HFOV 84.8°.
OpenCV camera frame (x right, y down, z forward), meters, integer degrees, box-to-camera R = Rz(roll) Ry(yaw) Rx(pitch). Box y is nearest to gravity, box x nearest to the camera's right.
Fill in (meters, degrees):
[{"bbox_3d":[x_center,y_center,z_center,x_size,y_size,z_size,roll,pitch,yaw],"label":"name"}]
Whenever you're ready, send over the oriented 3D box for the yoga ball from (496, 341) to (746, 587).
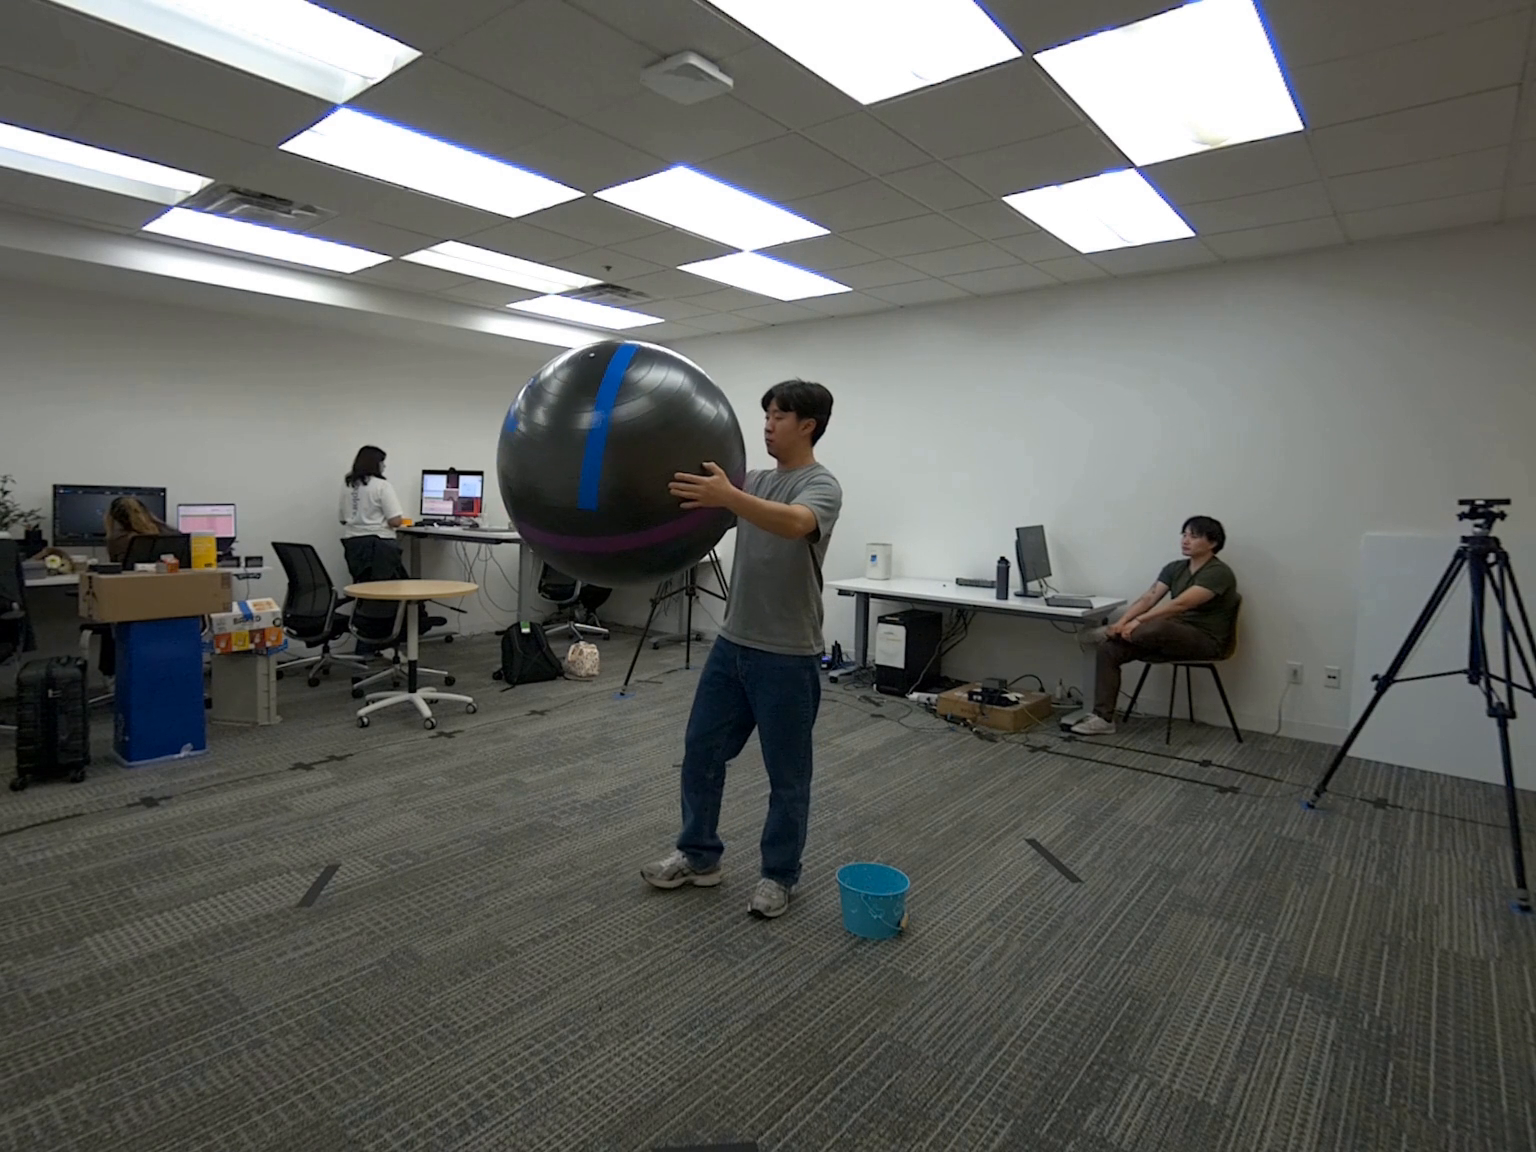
[{"bbox_3d":[-0.460,-0.331,2.612,0.757,0.756,0.761,1,4,-2],"label":"yoga ball"}]
